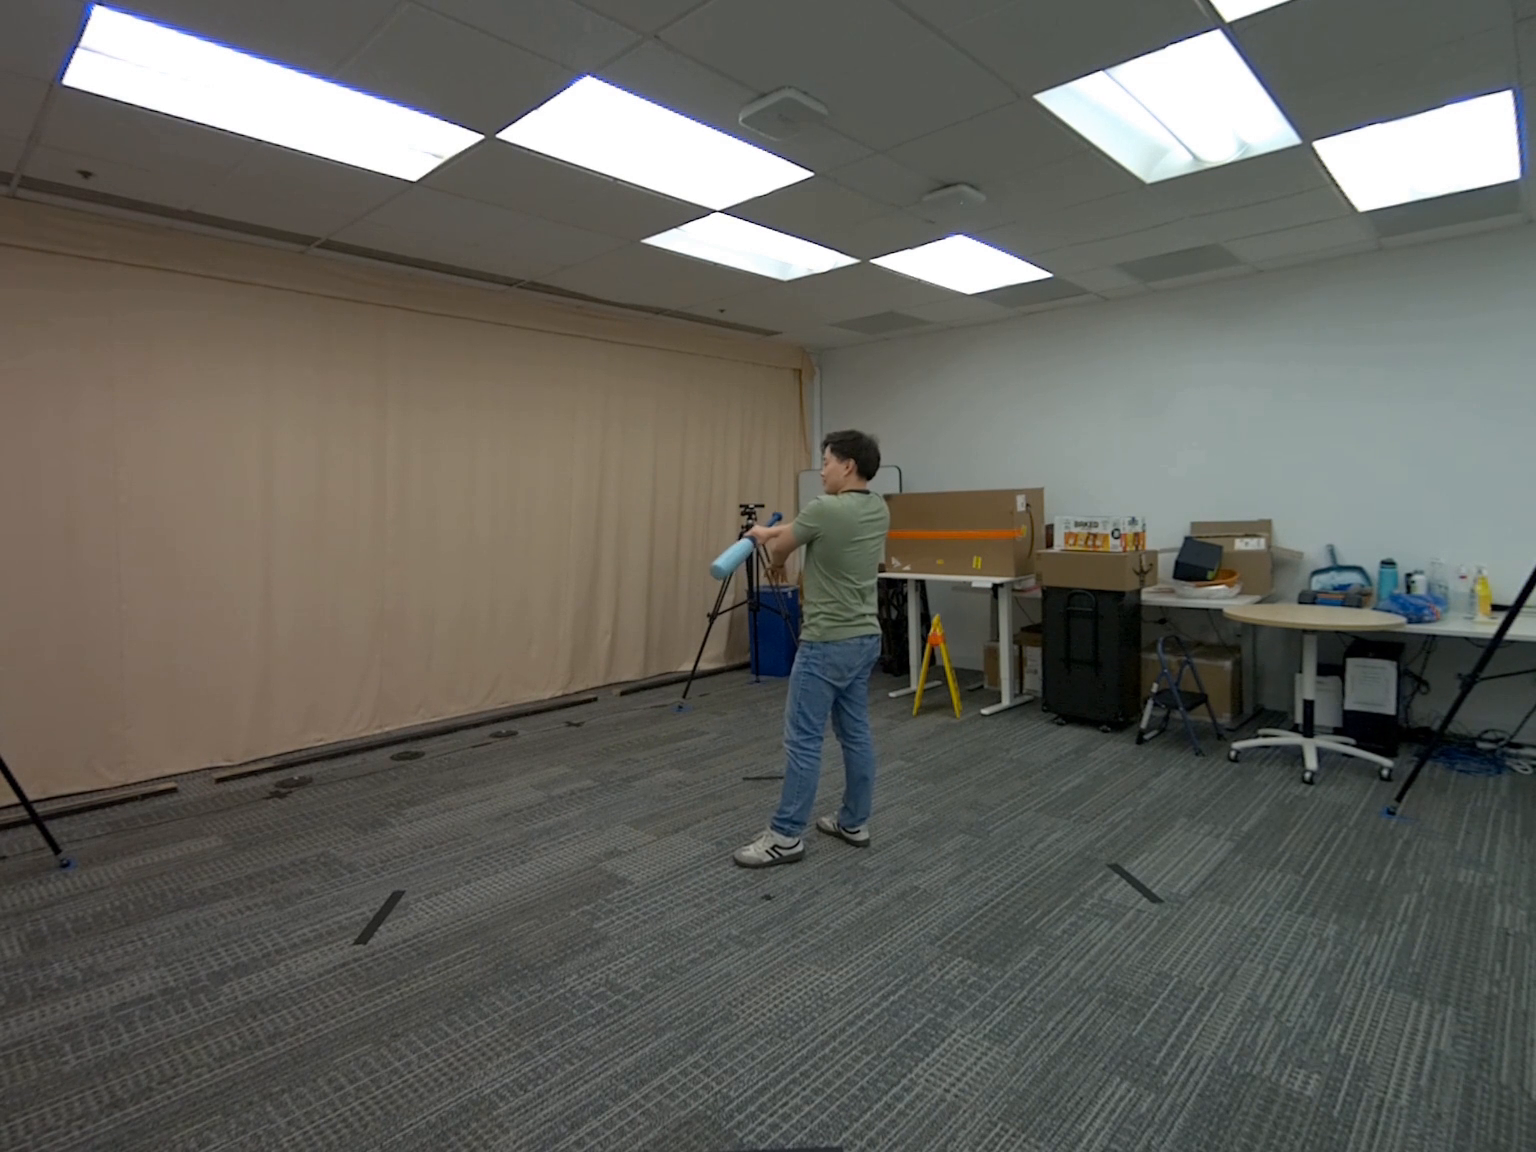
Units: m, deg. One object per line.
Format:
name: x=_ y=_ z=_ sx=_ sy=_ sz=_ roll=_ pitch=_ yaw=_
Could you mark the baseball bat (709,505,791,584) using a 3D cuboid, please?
baseball bat: x=-0.074 y=-0.148 z=3.731 sx=0.092 sy=0.087 sz=0.538 roll=1 pitch=32 yaw=33
